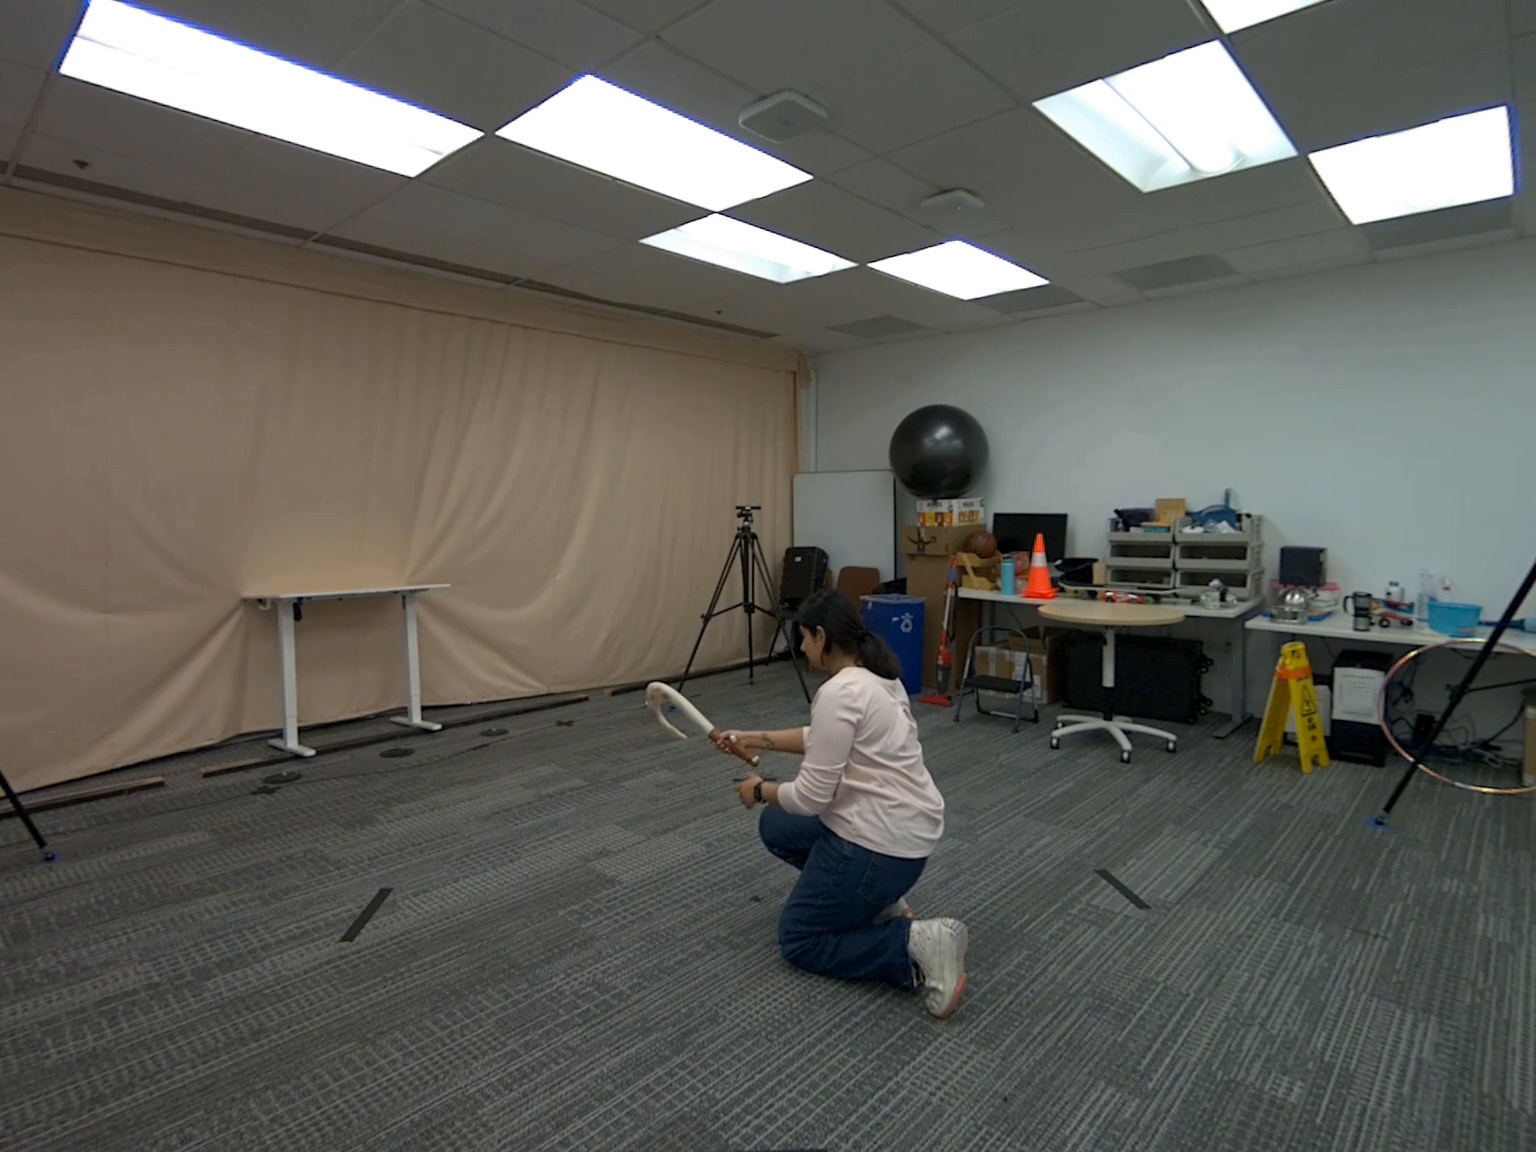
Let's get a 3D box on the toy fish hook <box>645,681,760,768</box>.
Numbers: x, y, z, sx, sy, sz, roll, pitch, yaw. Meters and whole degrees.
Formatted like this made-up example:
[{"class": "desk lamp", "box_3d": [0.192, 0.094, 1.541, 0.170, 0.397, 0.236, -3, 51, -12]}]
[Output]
[{"class": "toy fish hook", "box_3d": [-0.229, 0.559, 2.982, 0.522, 0.221, 0.047, 31, 48, 27]}]
